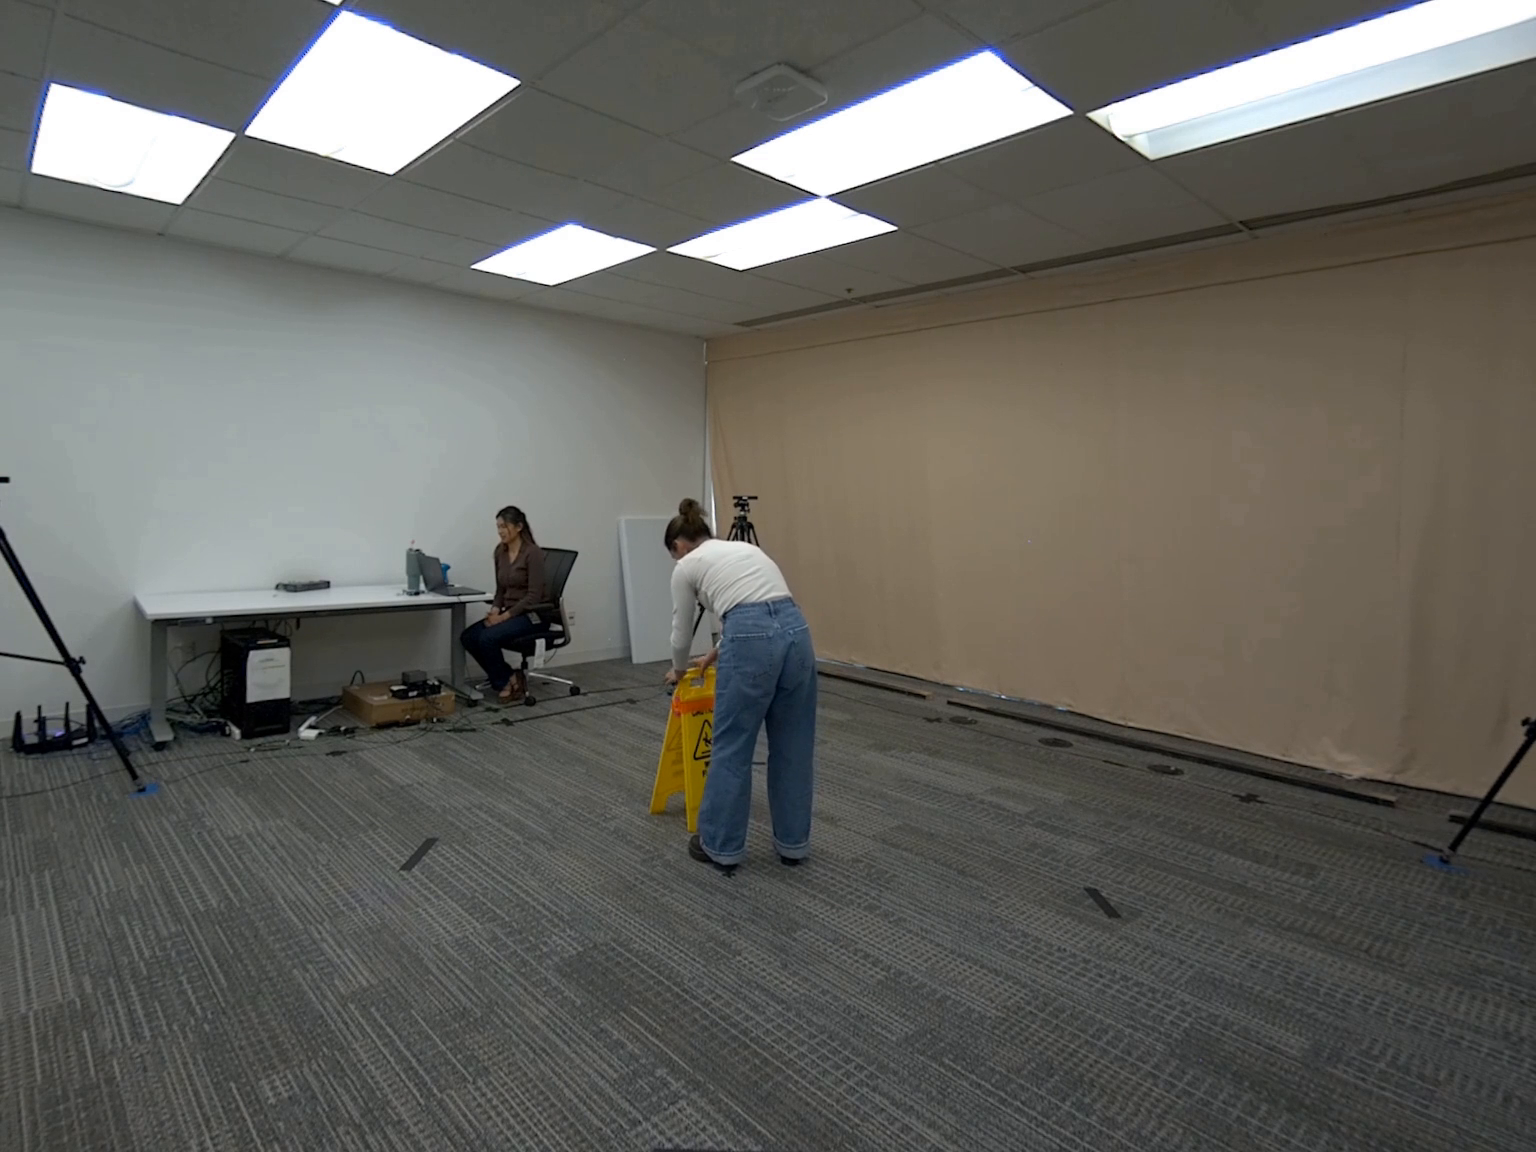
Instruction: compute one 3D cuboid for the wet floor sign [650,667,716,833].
[{"bbox_3d":[-0.319,0.727,3.660,0.276,0.644,0.297,-2,4,-44],"label":"wet floor sign"}]
